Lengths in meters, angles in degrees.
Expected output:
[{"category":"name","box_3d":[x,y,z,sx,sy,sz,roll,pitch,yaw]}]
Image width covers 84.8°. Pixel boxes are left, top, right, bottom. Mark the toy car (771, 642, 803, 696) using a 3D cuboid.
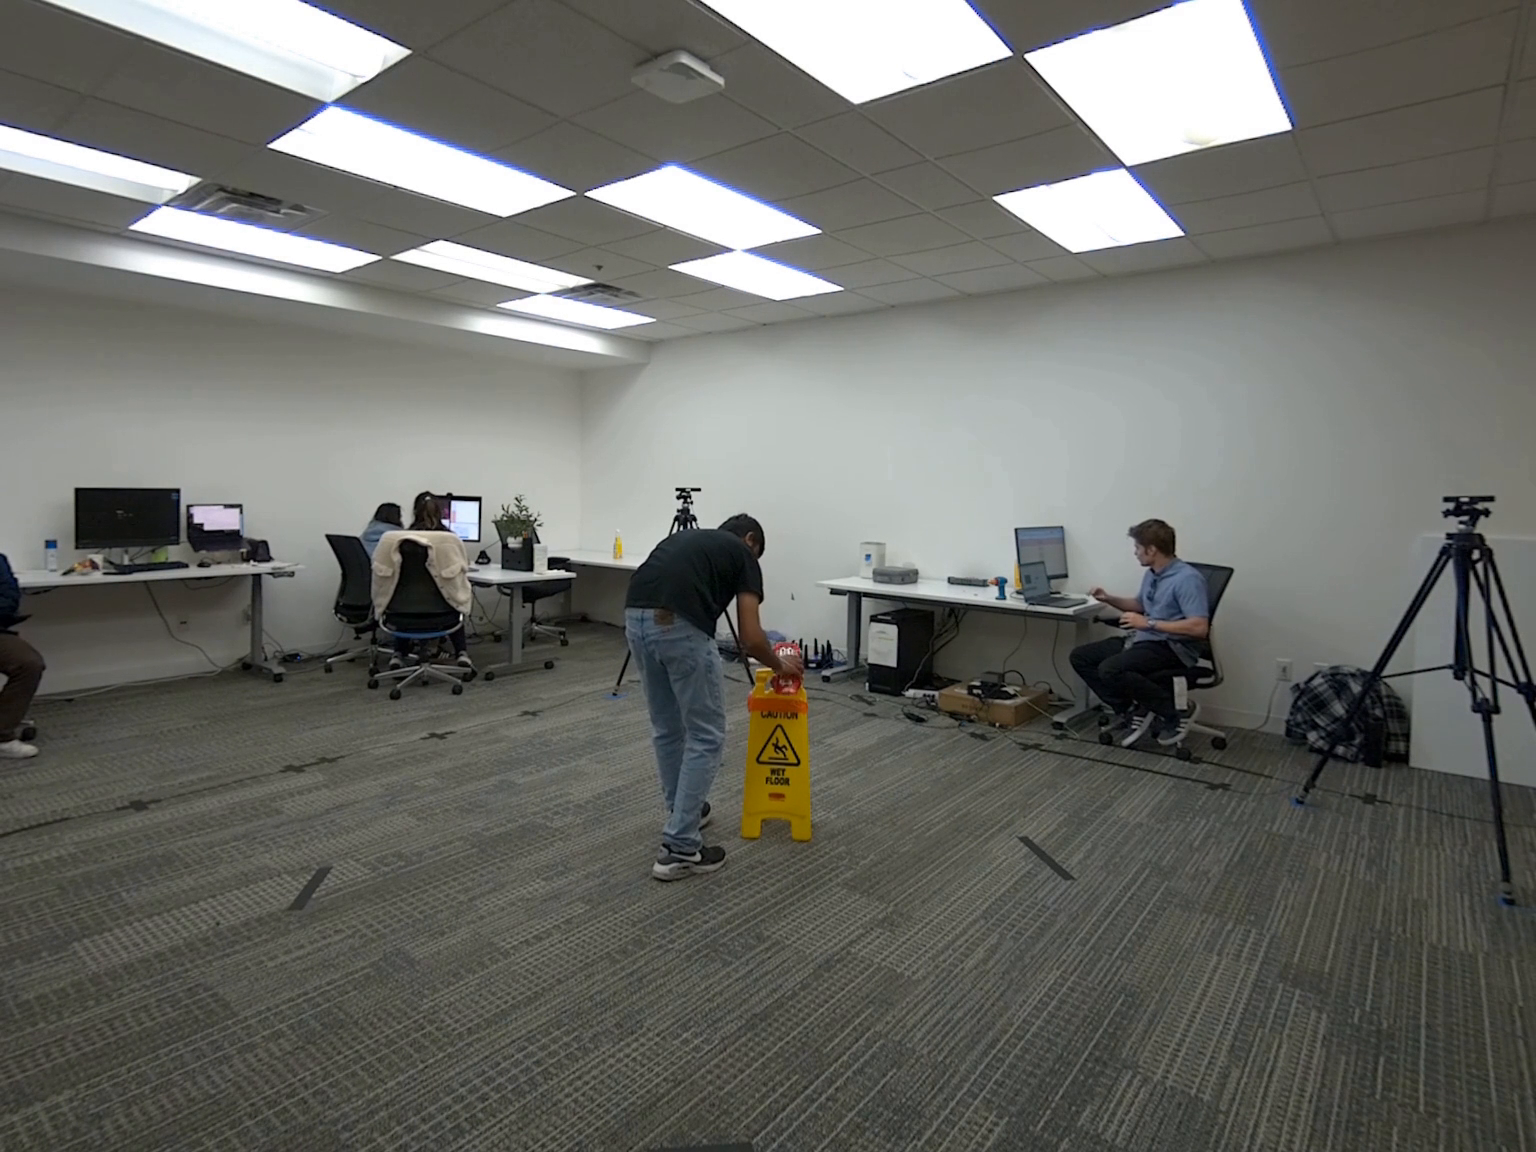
[{"category":"toy car","box_3d":[0.064,0.391,3.461,0.130,0.081,0.261,2,39,0]}]
